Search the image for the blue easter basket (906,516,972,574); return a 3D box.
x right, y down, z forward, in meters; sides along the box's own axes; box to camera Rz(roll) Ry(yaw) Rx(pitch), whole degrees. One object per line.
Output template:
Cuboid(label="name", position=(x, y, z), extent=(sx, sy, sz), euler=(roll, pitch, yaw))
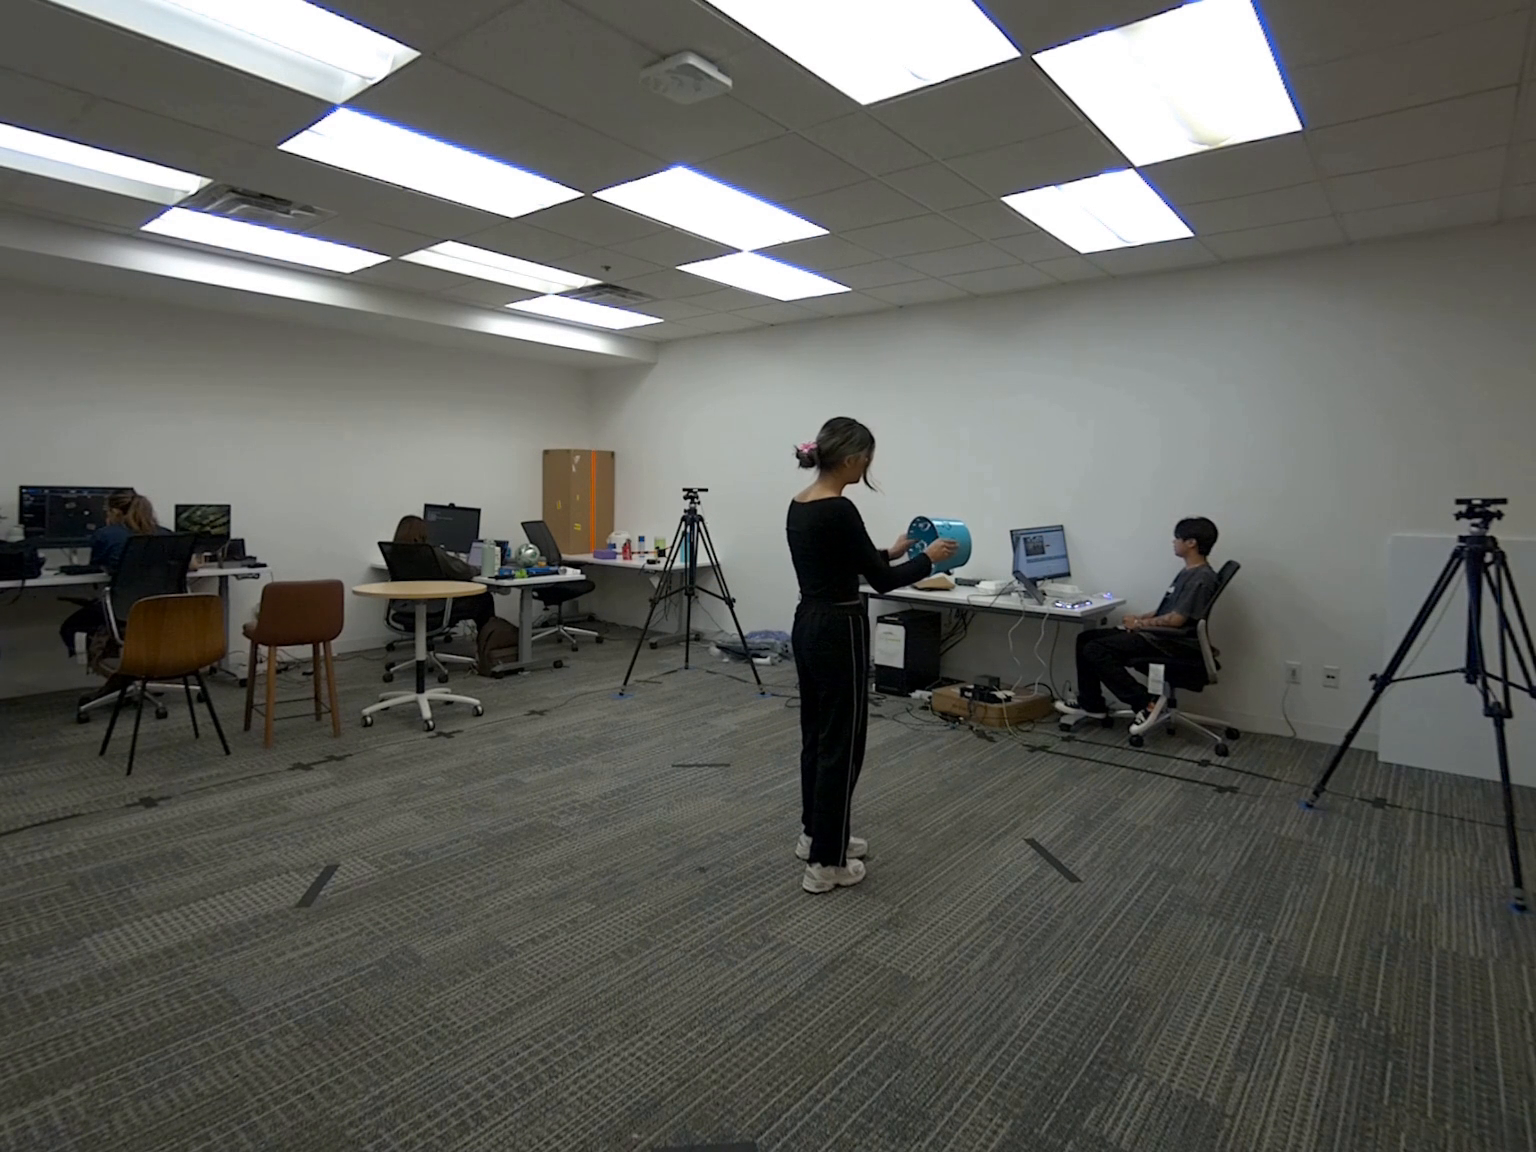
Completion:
Cuboid(label="blue easter basket", position=(0.640, -0.114, 3.193), extent=(0.153, 0.242, 0.250), euler=(-6, 6, -23))
